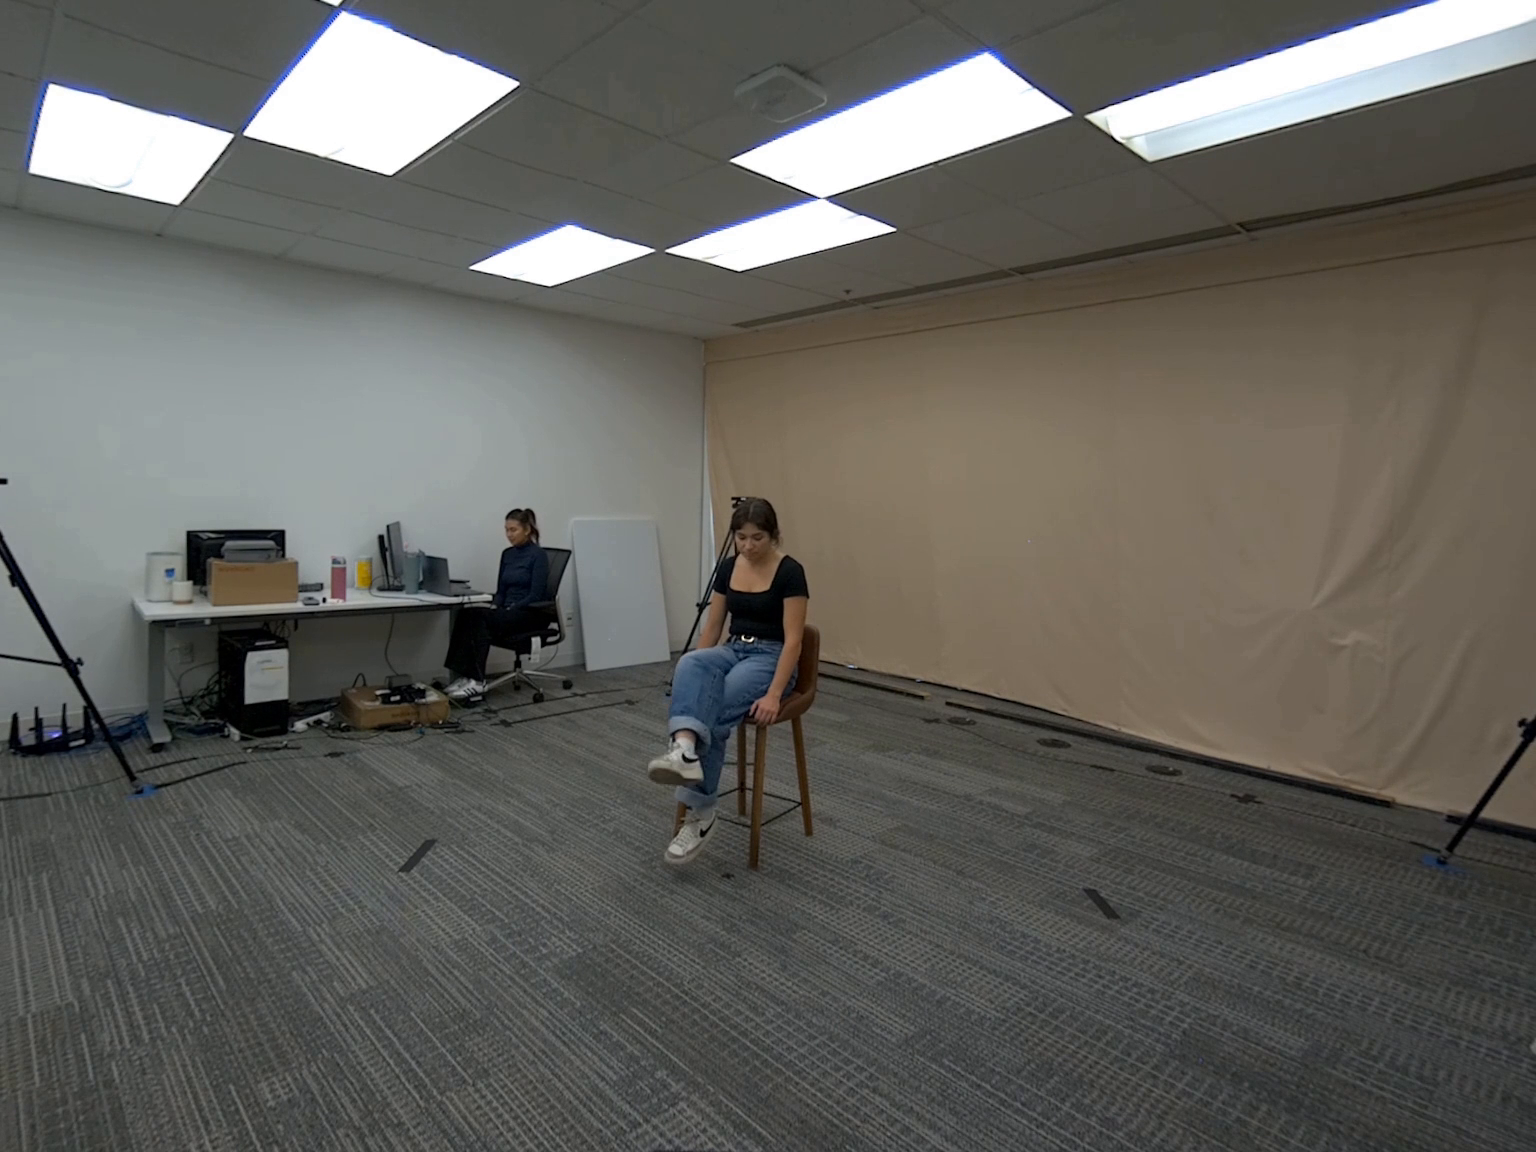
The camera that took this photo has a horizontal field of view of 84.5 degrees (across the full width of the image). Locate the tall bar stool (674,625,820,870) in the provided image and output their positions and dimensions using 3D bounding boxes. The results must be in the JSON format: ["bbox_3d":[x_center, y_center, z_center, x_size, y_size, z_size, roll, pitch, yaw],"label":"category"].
[{"bbox_3d":[-0.076,0.647,3.434,0.467,0.889,0.457,5,2,36],"label":"tall bar stool"}]
